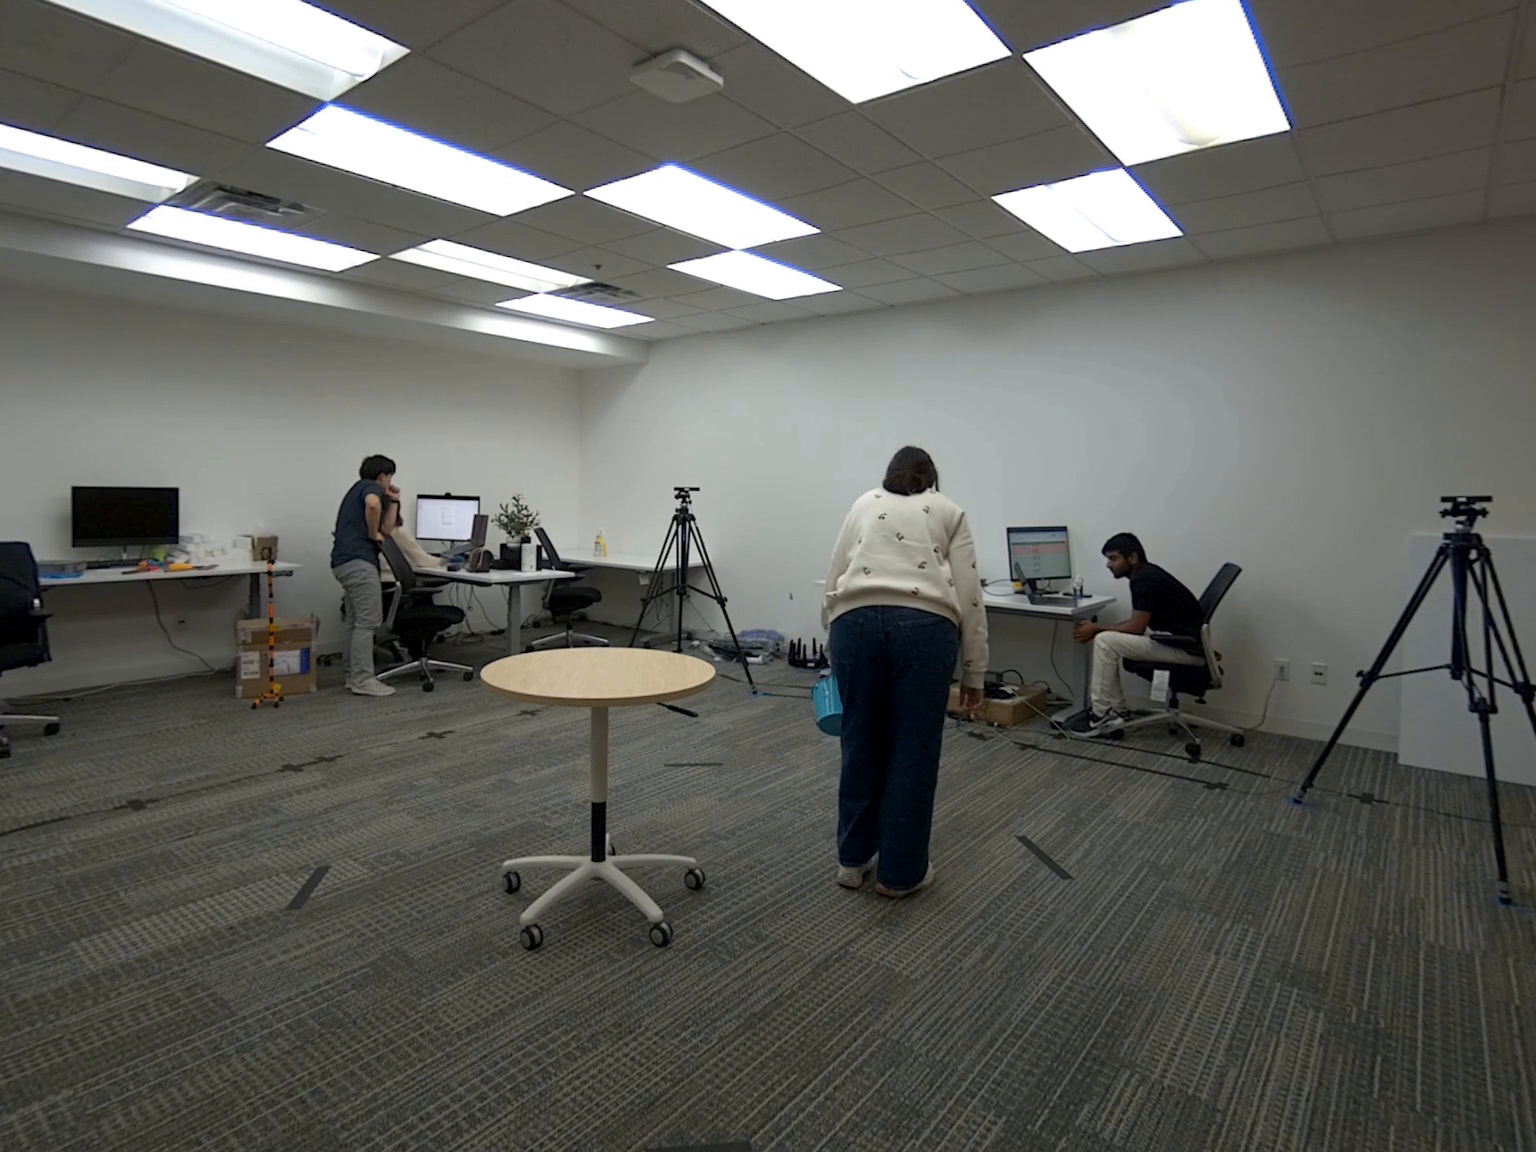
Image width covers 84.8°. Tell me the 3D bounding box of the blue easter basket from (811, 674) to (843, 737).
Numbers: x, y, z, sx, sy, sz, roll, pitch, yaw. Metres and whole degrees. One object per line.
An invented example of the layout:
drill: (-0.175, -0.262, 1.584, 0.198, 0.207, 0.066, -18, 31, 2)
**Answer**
blue easter basket: (0.278, 0.519, 3.333, 0.244, 0.160, 0.237, 4, -40, 1)
